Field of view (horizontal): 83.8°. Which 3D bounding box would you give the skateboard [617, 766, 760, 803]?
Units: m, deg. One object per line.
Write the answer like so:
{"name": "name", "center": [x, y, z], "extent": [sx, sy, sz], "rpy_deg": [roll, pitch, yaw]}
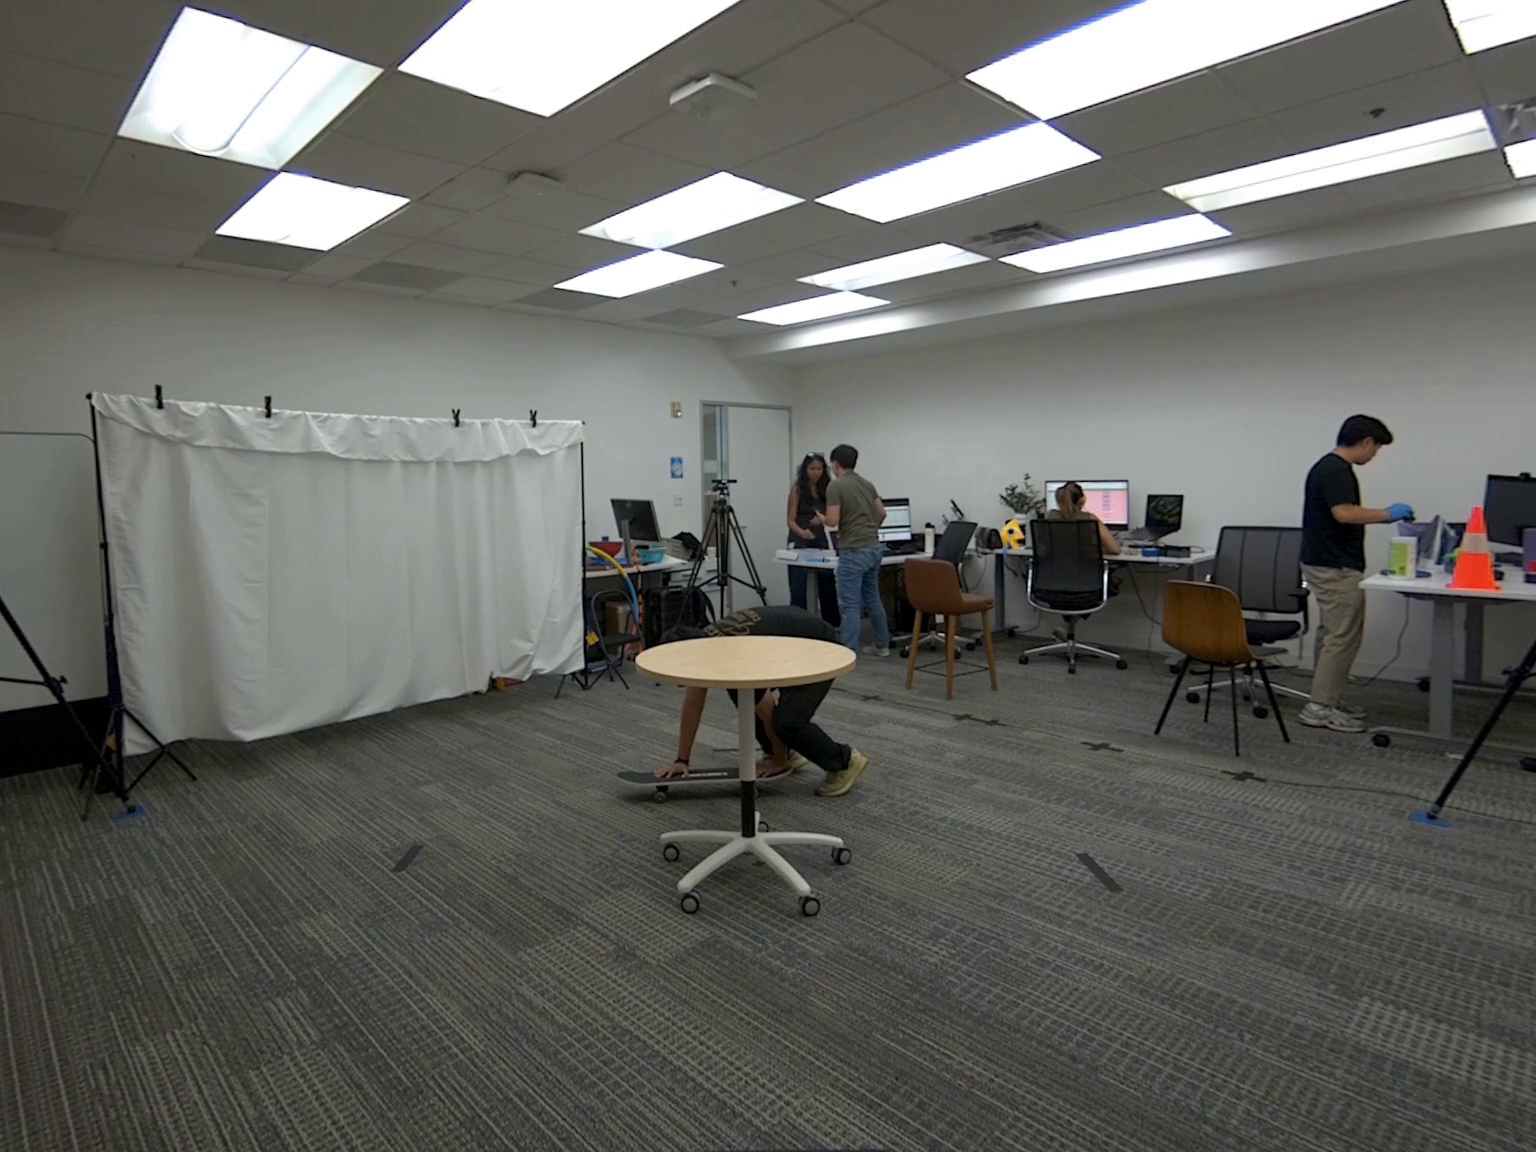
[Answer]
{"name": "skateboard", "center": [-0.286, 0.920, 3.818], "extent": [0.782, 0.110, 0.194], "rpy_deg": [-1, 2, -4]}
